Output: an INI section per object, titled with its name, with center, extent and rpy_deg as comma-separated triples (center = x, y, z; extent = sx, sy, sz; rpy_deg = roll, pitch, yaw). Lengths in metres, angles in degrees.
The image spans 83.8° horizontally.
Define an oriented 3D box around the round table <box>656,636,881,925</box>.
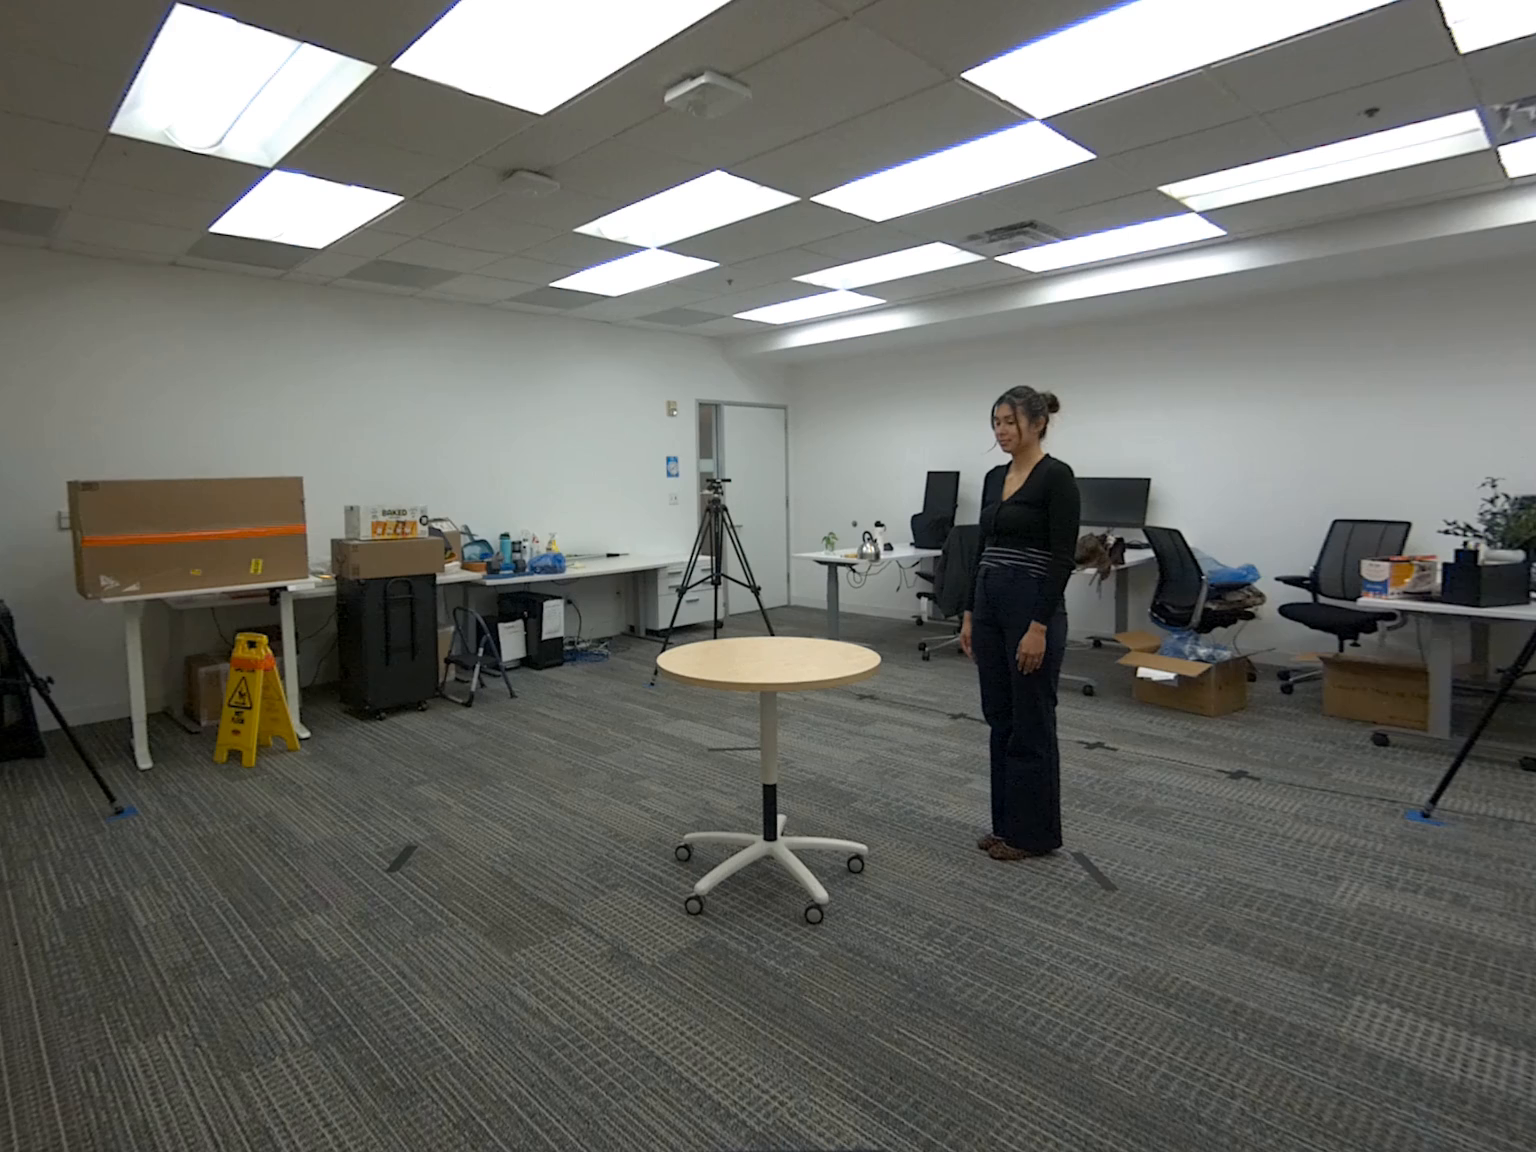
[round table]
center = 0.008, 0.673, 2.967
extent = 0.763, 0.791, 0.768
rpy_deg = -1, 5, -2
